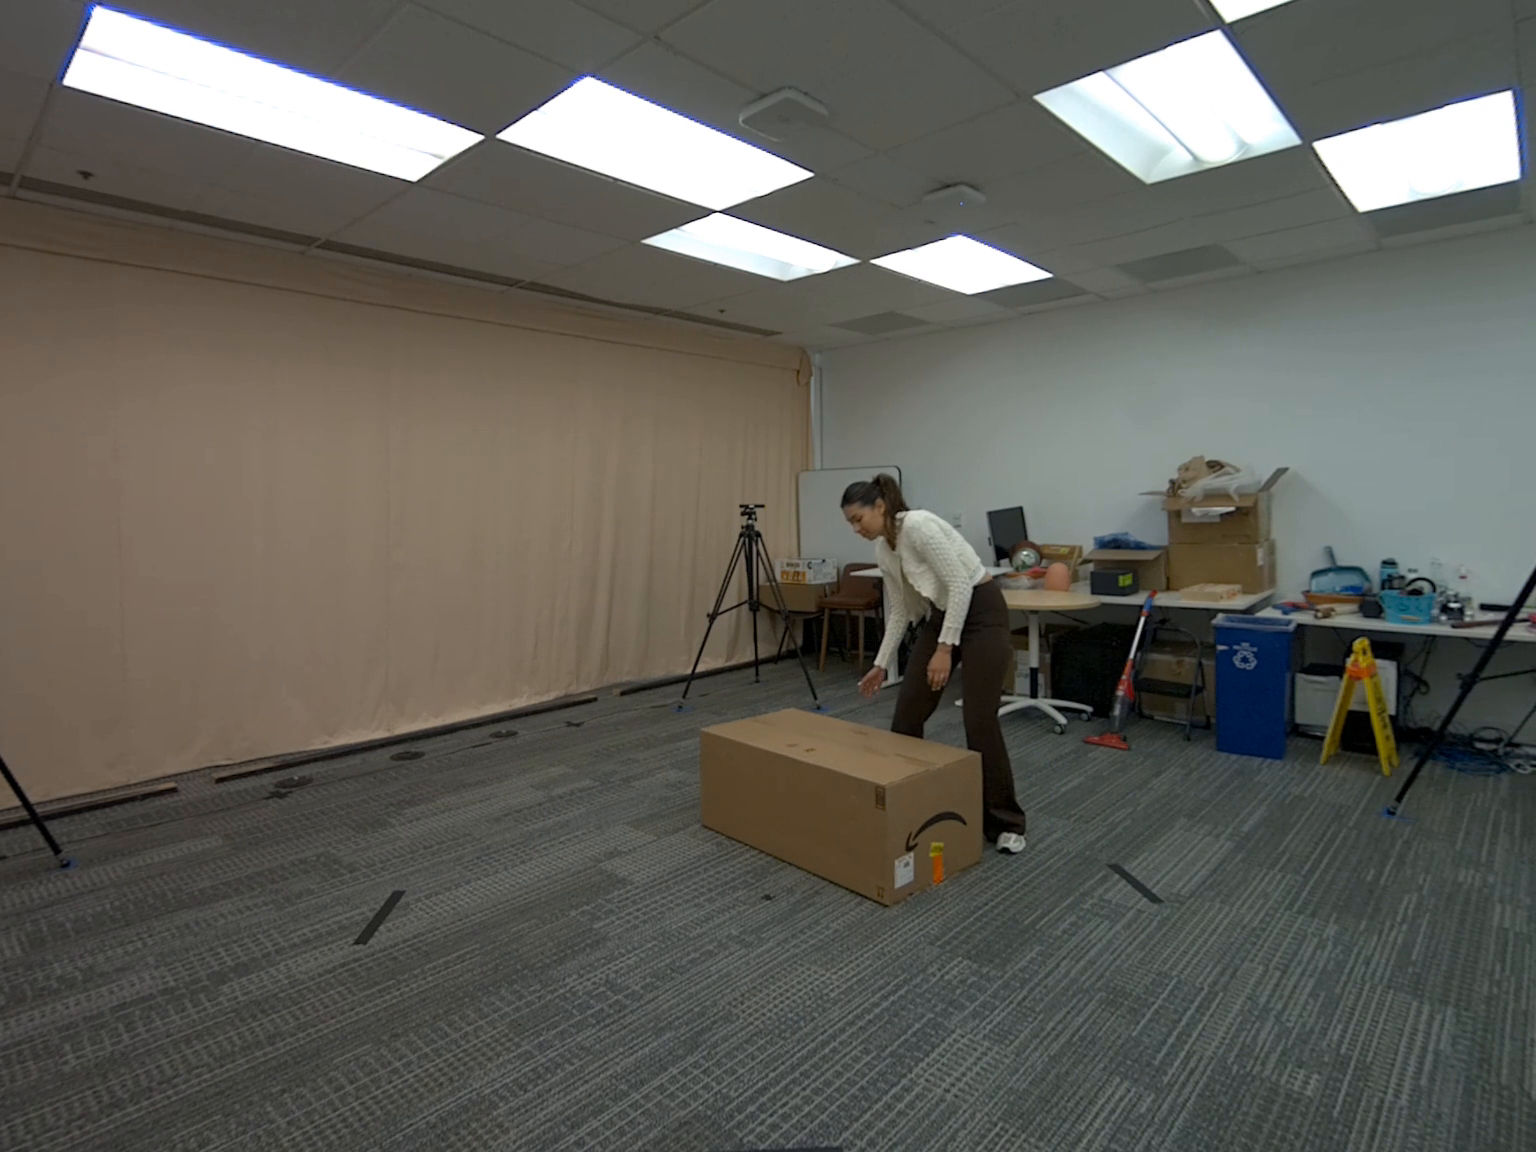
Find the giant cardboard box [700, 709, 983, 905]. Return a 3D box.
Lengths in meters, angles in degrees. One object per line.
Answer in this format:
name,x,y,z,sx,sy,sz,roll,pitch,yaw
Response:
giant cardboard box,0.261,0.884,3.446,0.560,0.425,1.060,-4,6,-41
